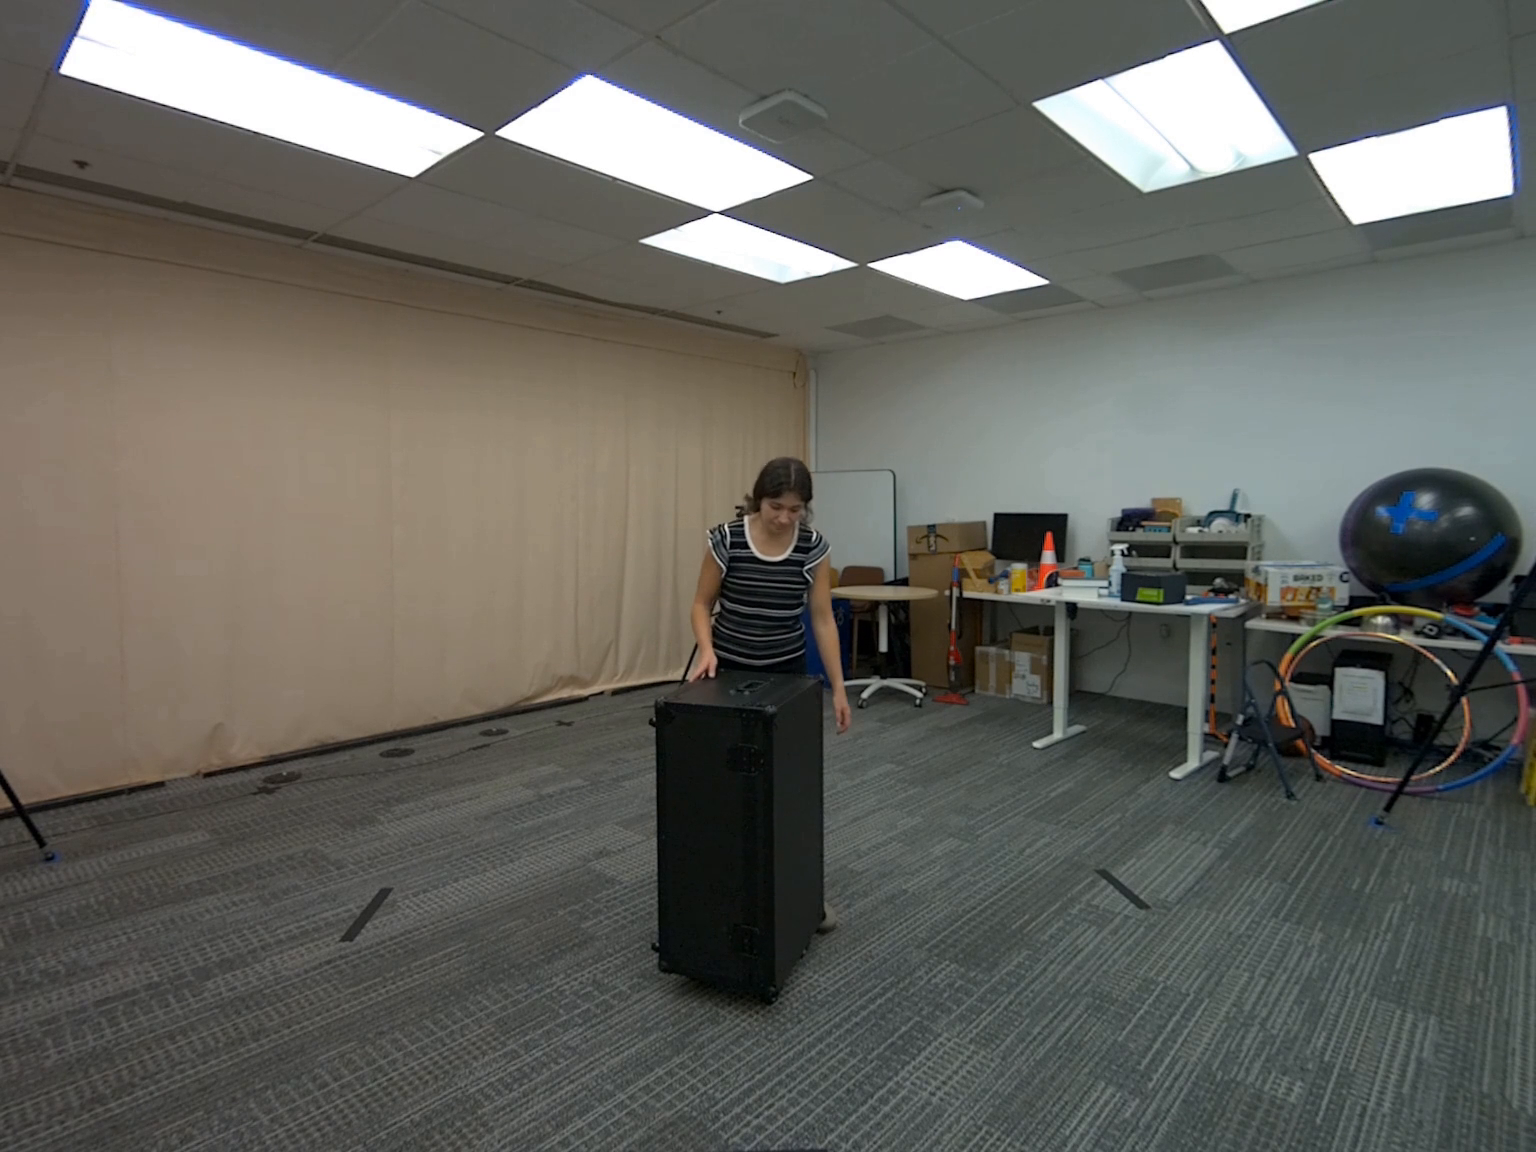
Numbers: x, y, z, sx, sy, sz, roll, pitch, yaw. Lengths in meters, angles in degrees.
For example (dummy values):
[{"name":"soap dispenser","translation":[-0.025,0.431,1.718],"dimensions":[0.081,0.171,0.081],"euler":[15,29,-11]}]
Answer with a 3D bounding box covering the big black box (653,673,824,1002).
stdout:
[{"name":"big black box","translation":[-0.075,0.758,2.525],"dimensions":[0.405,0.860,0.510],"euler":[-1,3,21]}]
